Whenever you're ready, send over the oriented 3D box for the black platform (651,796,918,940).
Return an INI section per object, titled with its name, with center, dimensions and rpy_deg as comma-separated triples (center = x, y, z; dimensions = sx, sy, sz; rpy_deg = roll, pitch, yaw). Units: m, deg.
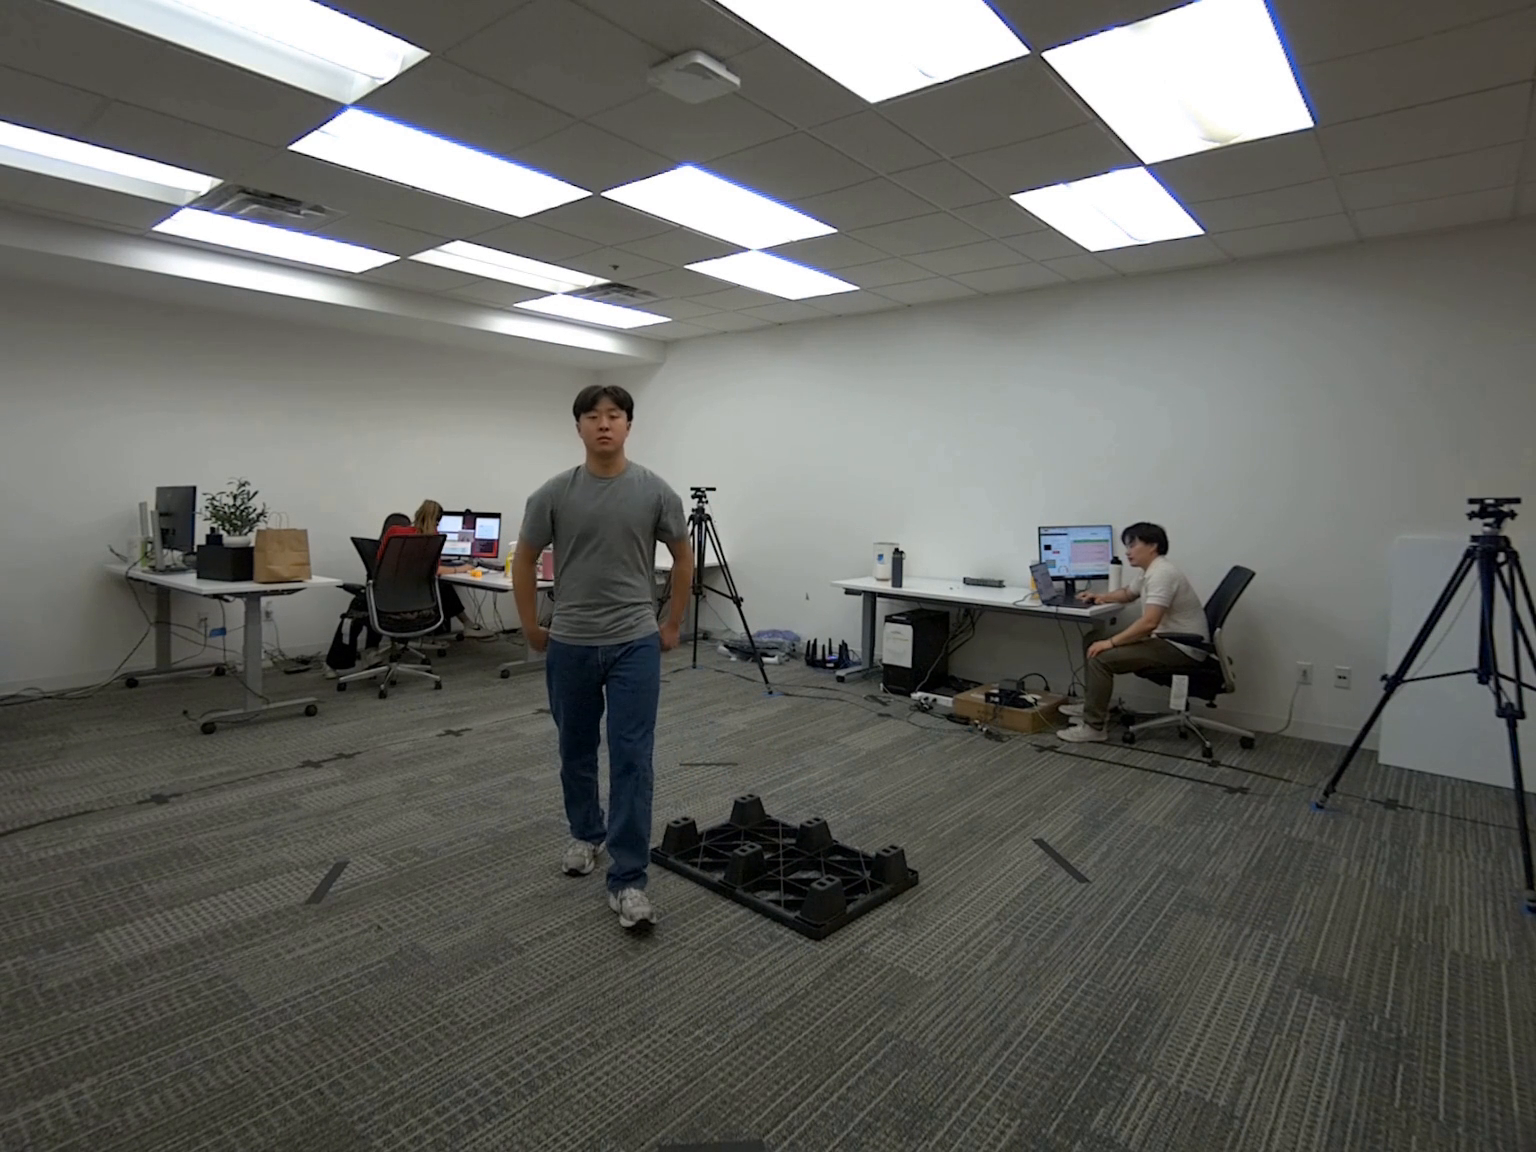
[black platform]
center = 0.045, 1.007, 3.099
dimensions = 0.833, 0.143, 0.587
rpy_deg = 6, 8, 42
